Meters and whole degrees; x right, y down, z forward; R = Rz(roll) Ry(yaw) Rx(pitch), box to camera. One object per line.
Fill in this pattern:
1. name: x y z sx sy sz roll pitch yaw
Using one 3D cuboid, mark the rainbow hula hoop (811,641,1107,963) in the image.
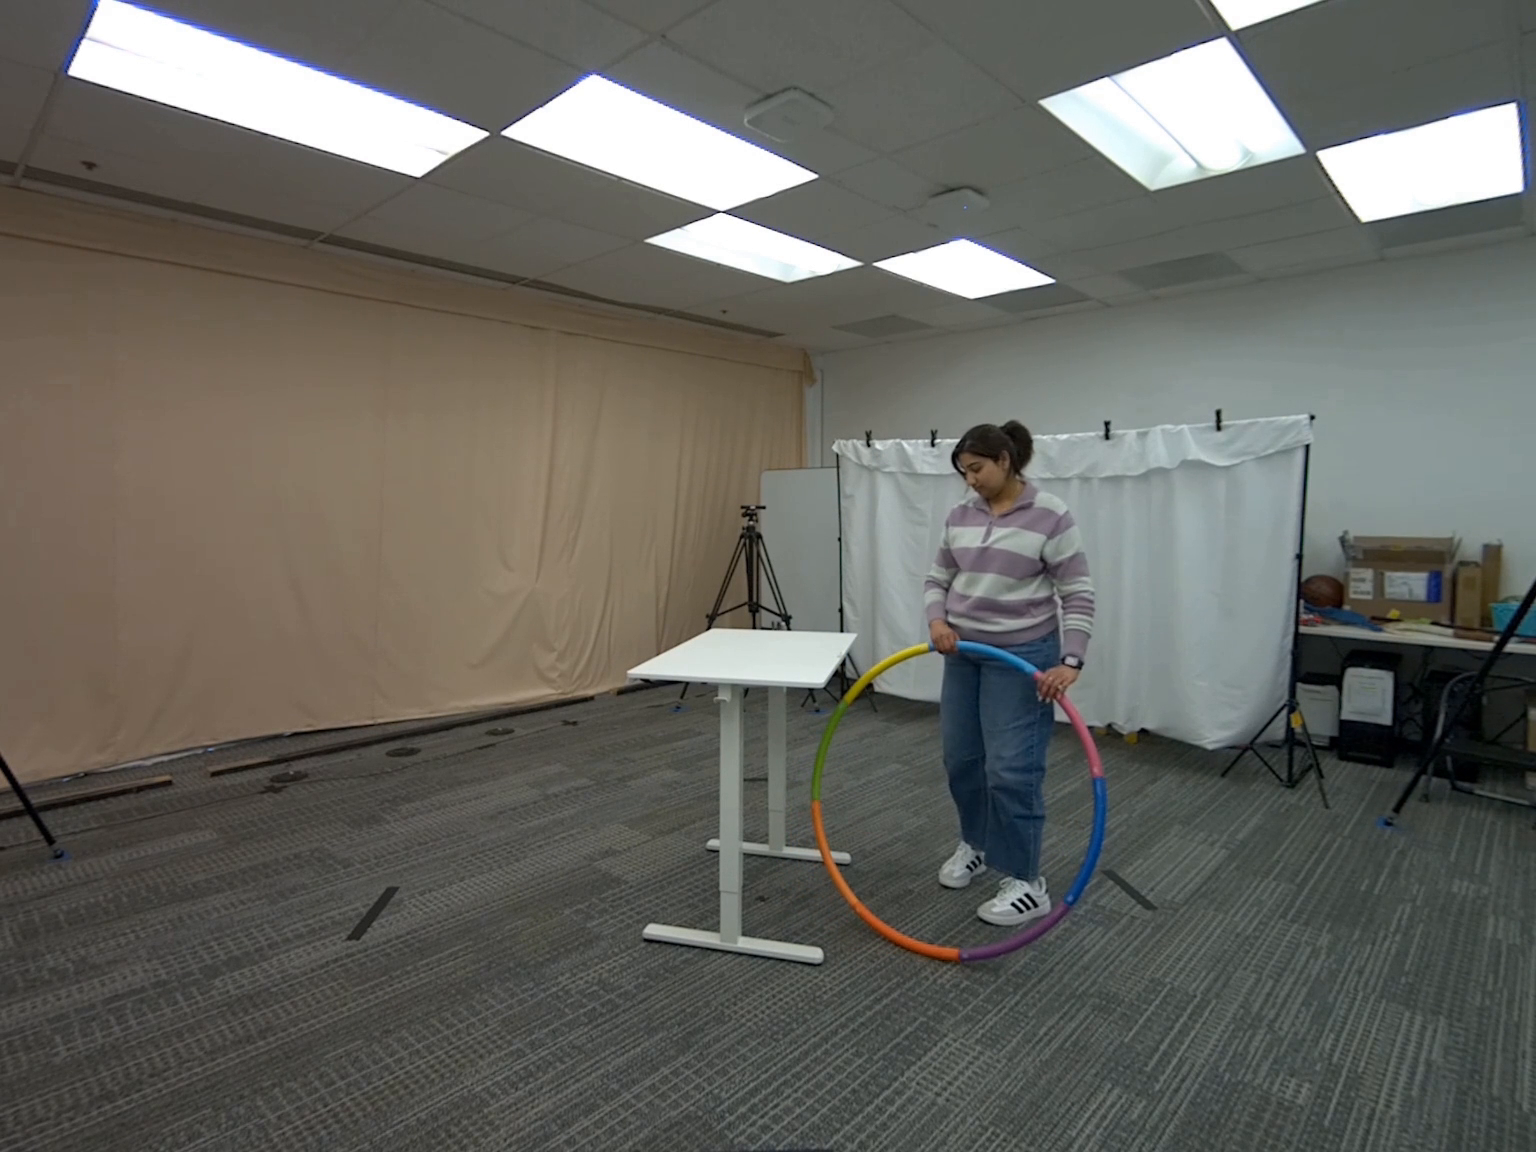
1. rainbow hula hoop: 0.572 0.701 2.733 1.010 0.983 0.034 3 -17 38
